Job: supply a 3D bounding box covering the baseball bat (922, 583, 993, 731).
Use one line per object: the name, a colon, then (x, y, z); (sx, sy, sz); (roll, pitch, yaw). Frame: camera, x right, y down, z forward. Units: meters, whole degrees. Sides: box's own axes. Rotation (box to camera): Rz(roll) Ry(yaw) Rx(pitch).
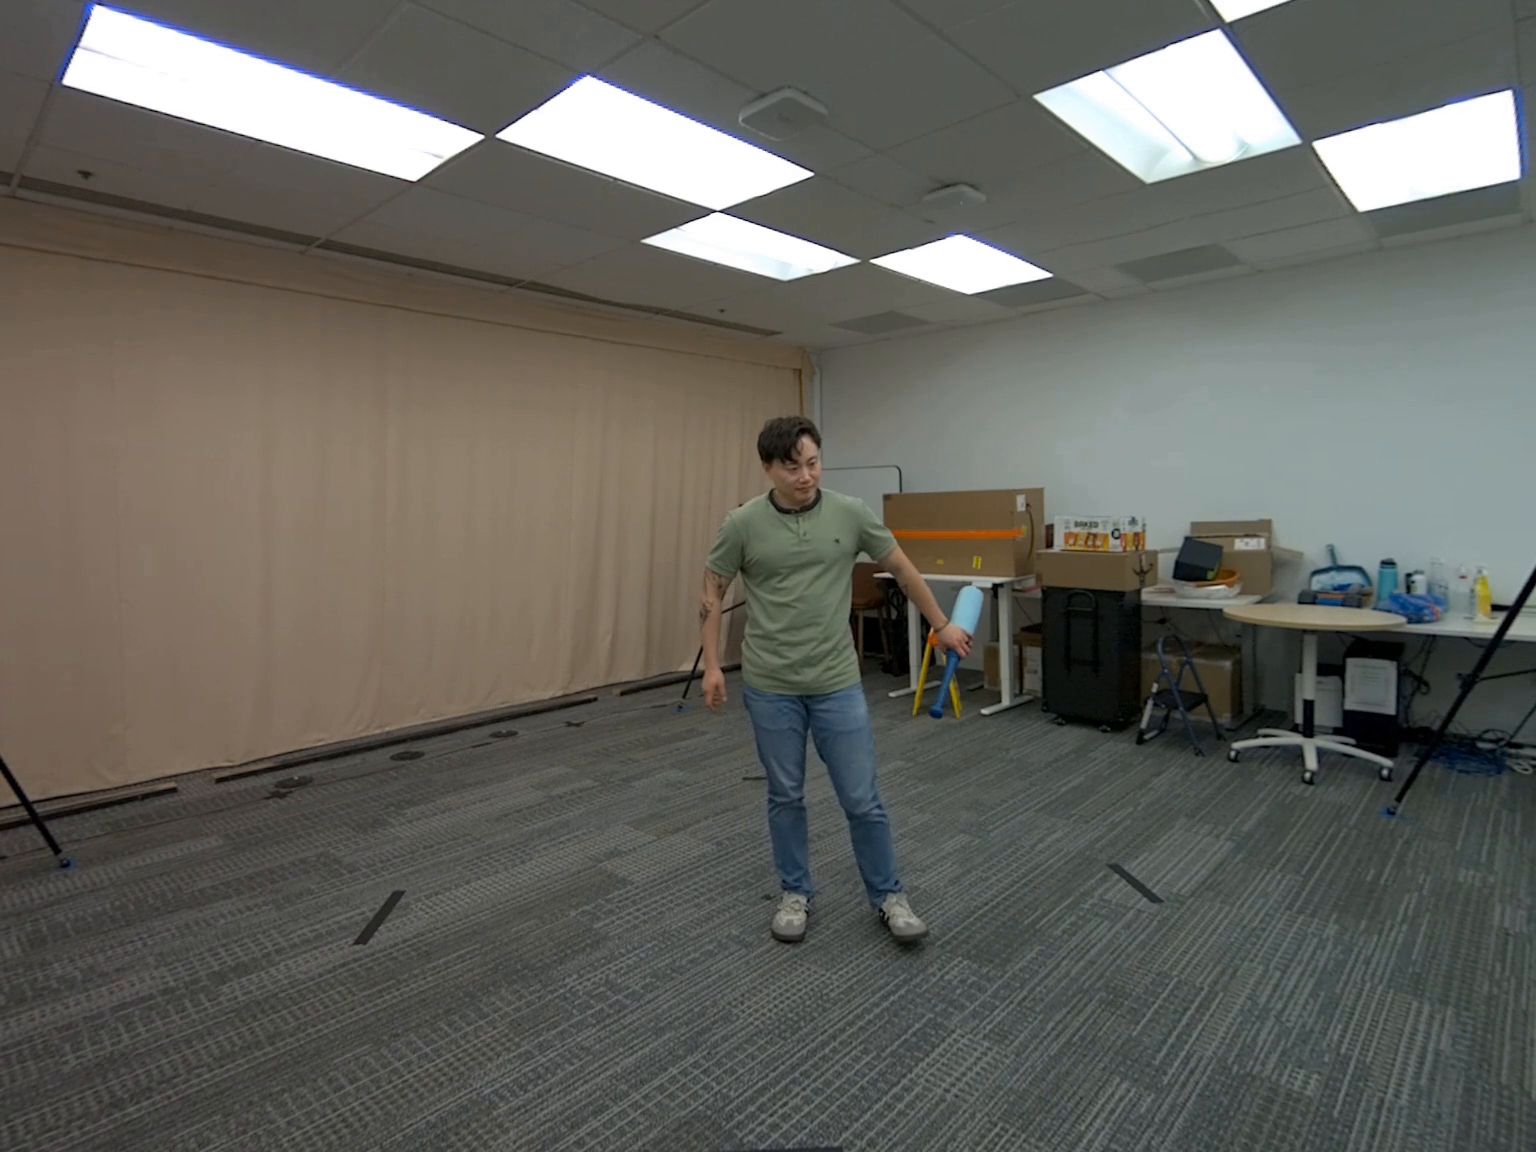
baseball bat: (0.632, 0.254, 2.808); (0.091, 0.086, 0.543); (1, 46, 31)
